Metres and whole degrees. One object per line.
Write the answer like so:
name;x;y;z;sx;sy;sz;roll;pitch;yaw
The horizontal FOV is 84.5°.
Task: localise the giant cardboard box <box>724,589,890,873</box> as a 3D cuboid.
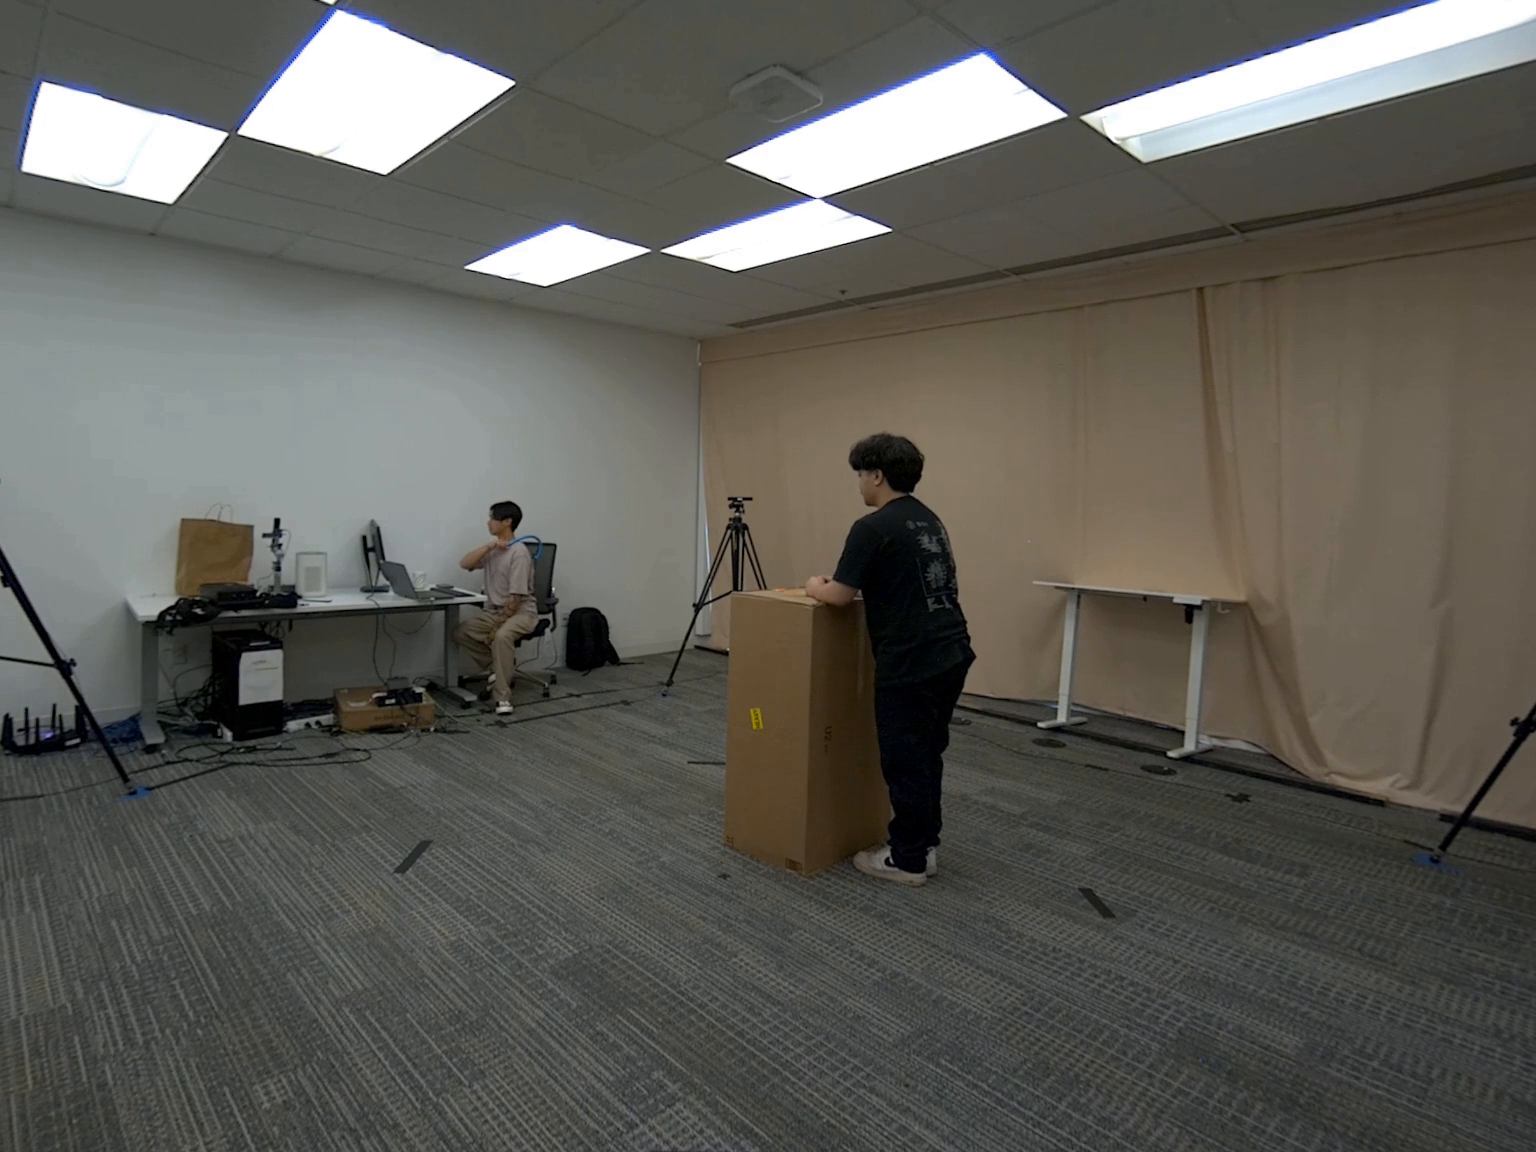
giant cardboard box;0.171;0.576;3.437;0.458;1.025;0.570;3;3;44
